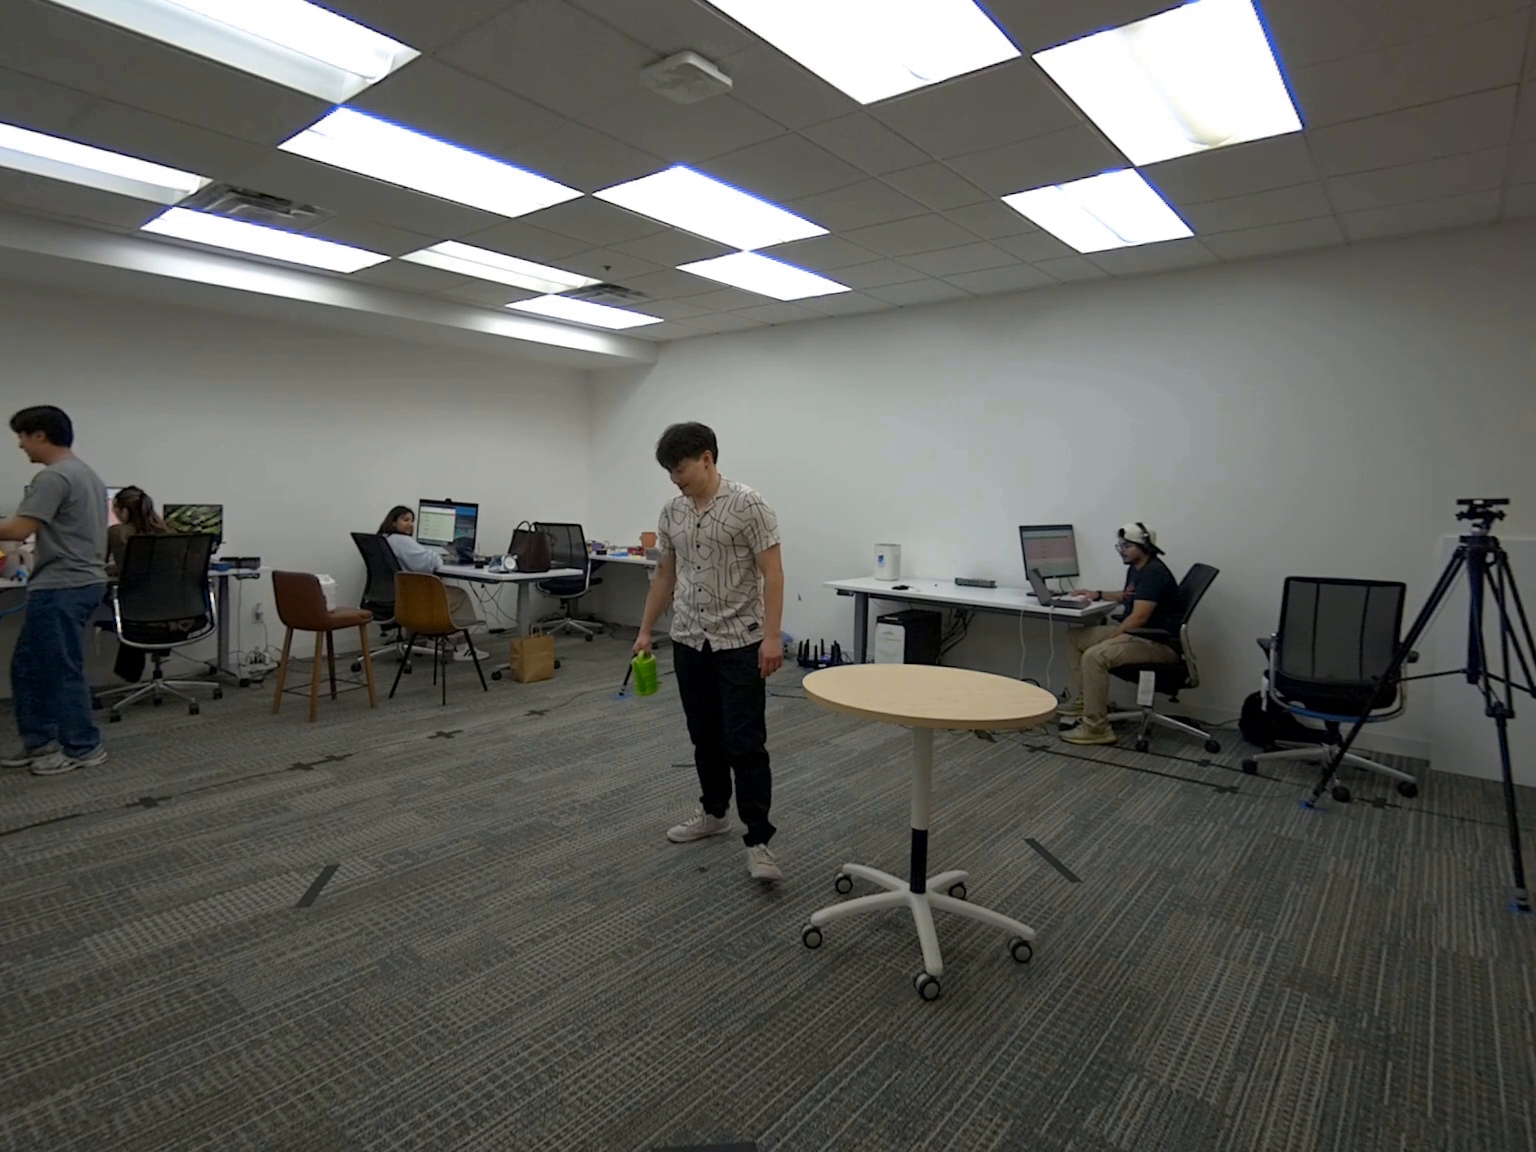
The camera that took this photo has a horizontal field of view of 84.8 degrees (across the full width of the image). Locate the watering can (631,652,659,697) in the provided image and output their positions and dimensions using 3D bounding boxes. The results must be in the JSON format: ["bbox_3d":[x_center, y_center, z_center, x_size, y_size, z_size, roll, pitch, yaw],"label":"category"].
[{"bbox_3d":[-0.508,0.378,3.348,0.100,0.176,0.274,-3,7,20],"label":"watering can"}]
